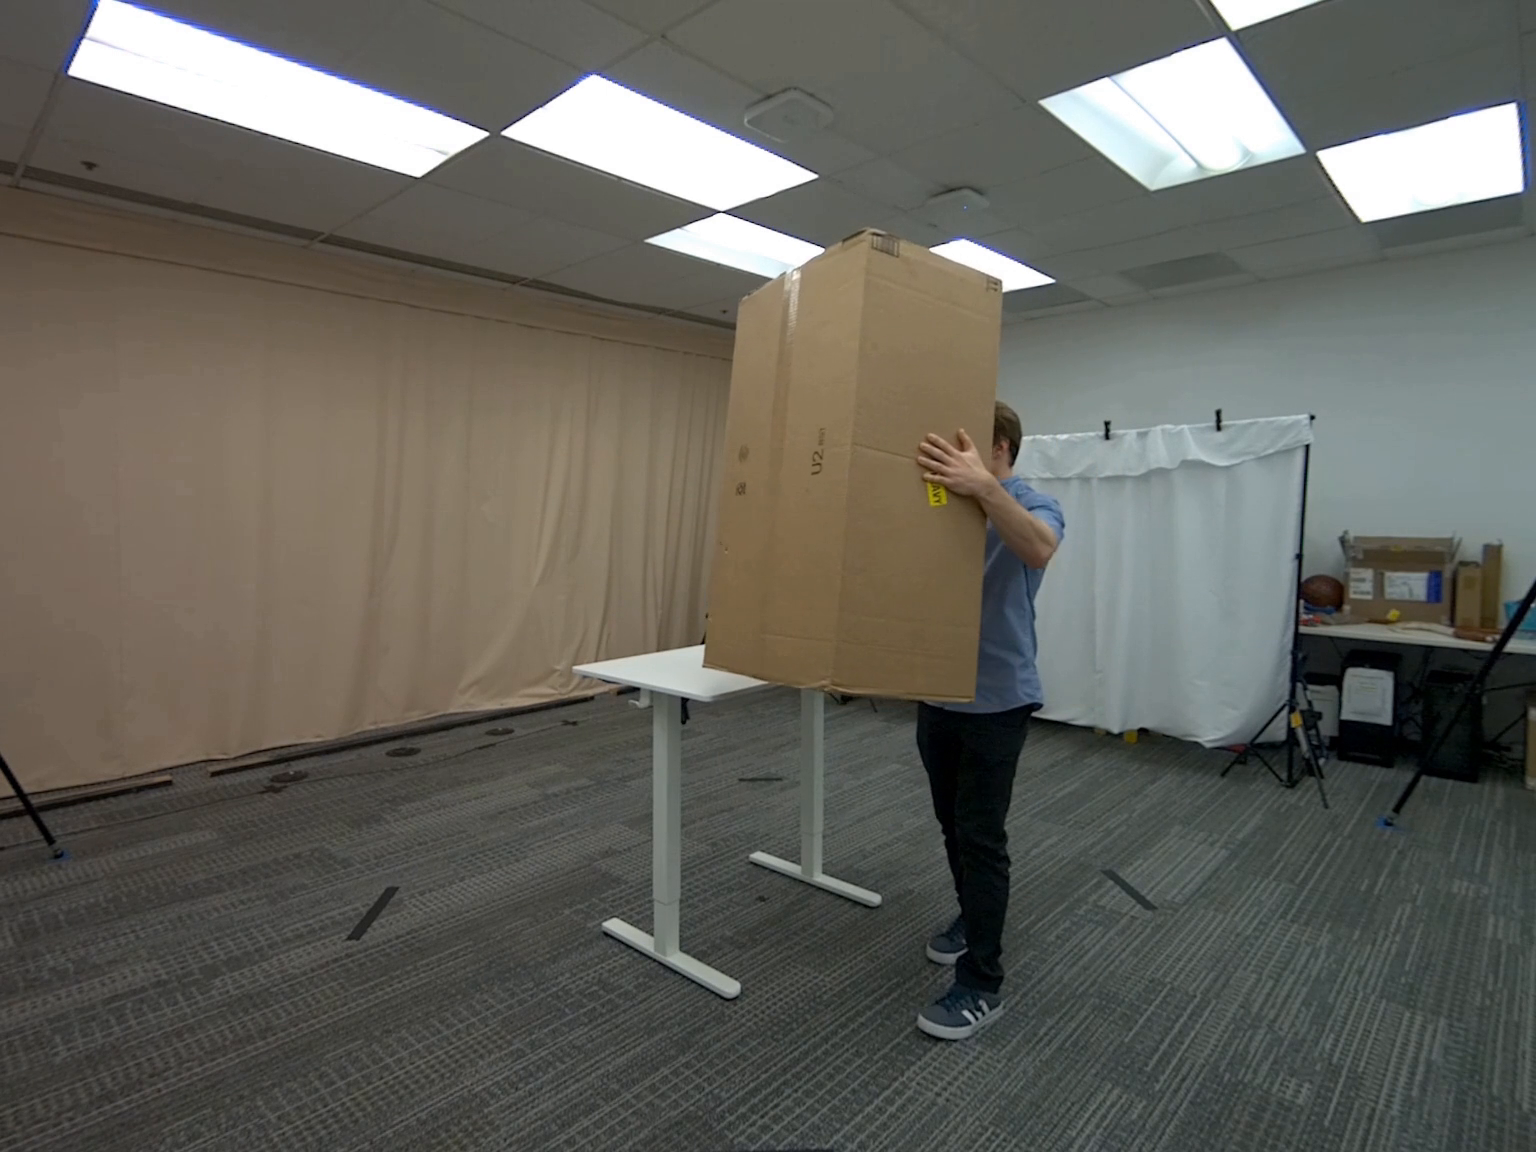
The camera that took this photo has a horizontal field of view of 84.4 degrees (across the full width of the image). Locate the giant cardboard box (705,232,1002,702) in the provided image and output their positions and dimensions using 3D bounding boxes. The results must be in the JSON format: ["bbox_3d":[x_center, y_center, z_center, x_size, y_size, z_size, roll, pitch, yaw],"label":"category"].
[{"bbox_3d":[0.204,-0.235,2.146,0.414,1.029,0.593,9,-6,-29],"label":"giant cardboard box"}]
